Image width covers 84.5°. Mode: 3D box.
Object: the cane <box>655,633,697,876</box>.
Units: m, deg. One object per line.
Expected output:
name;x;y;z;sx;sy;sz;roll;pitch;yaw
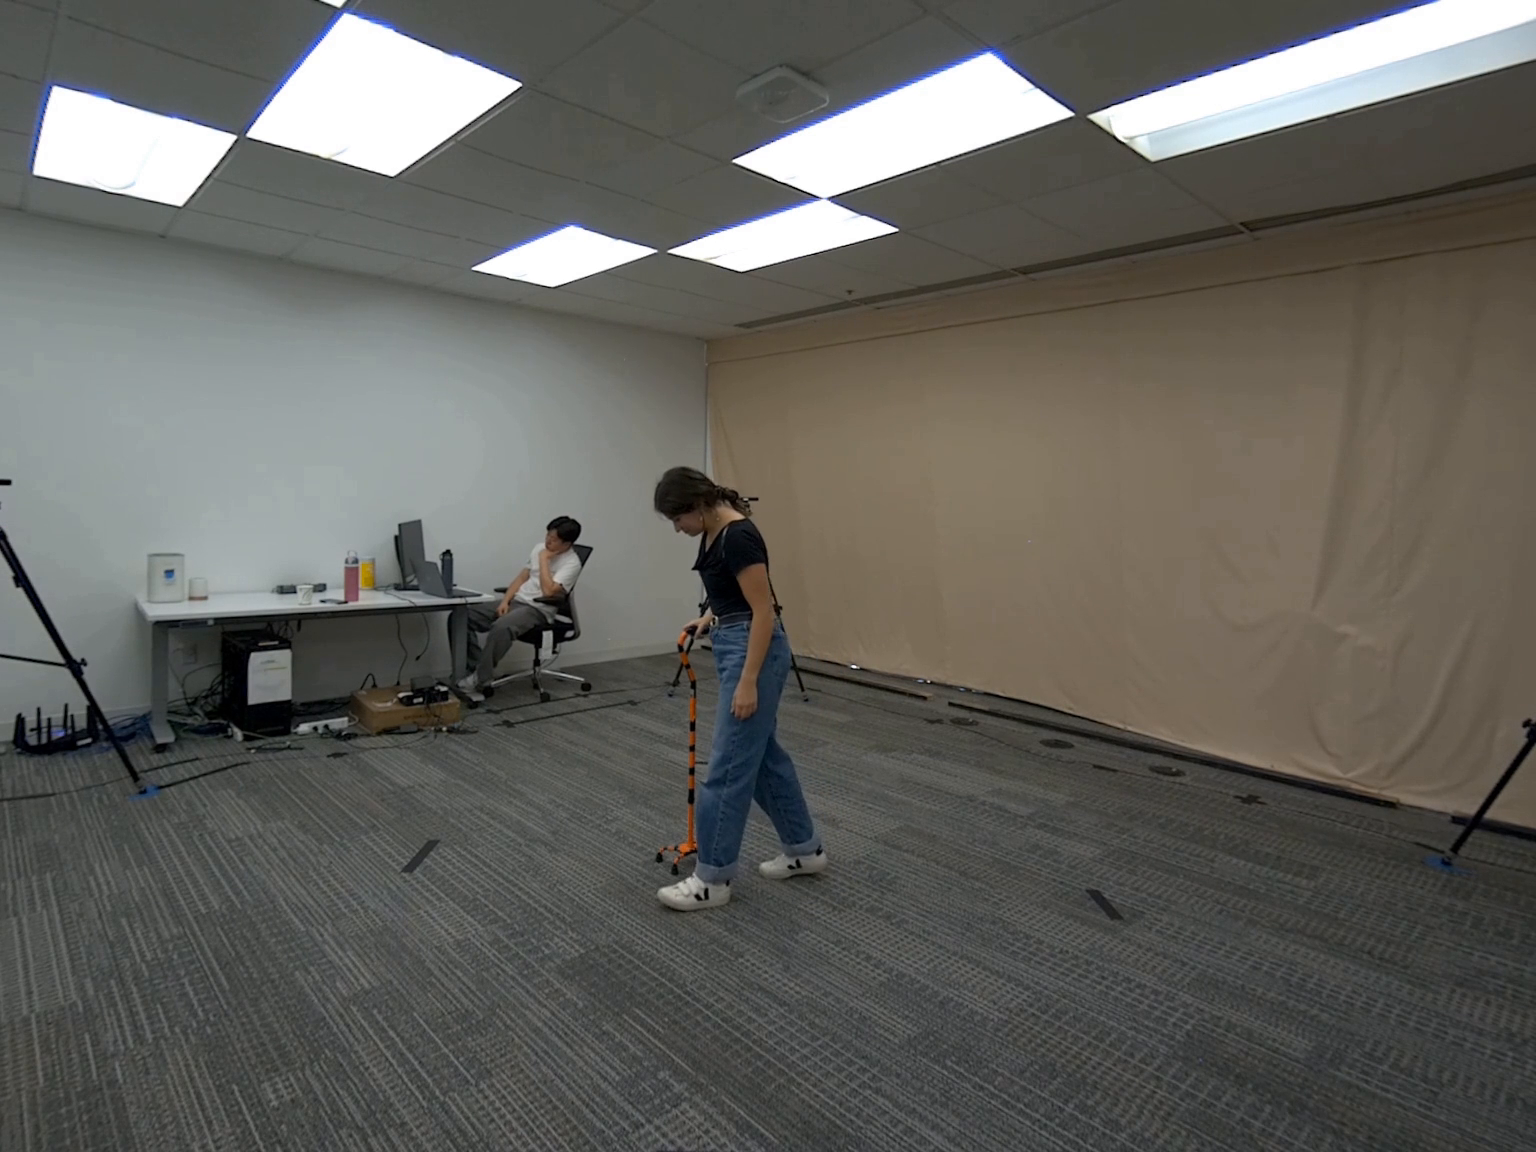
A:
cane;-0.304;0.636;3.194;0.202;0.906;0.155;-1;4;-36
